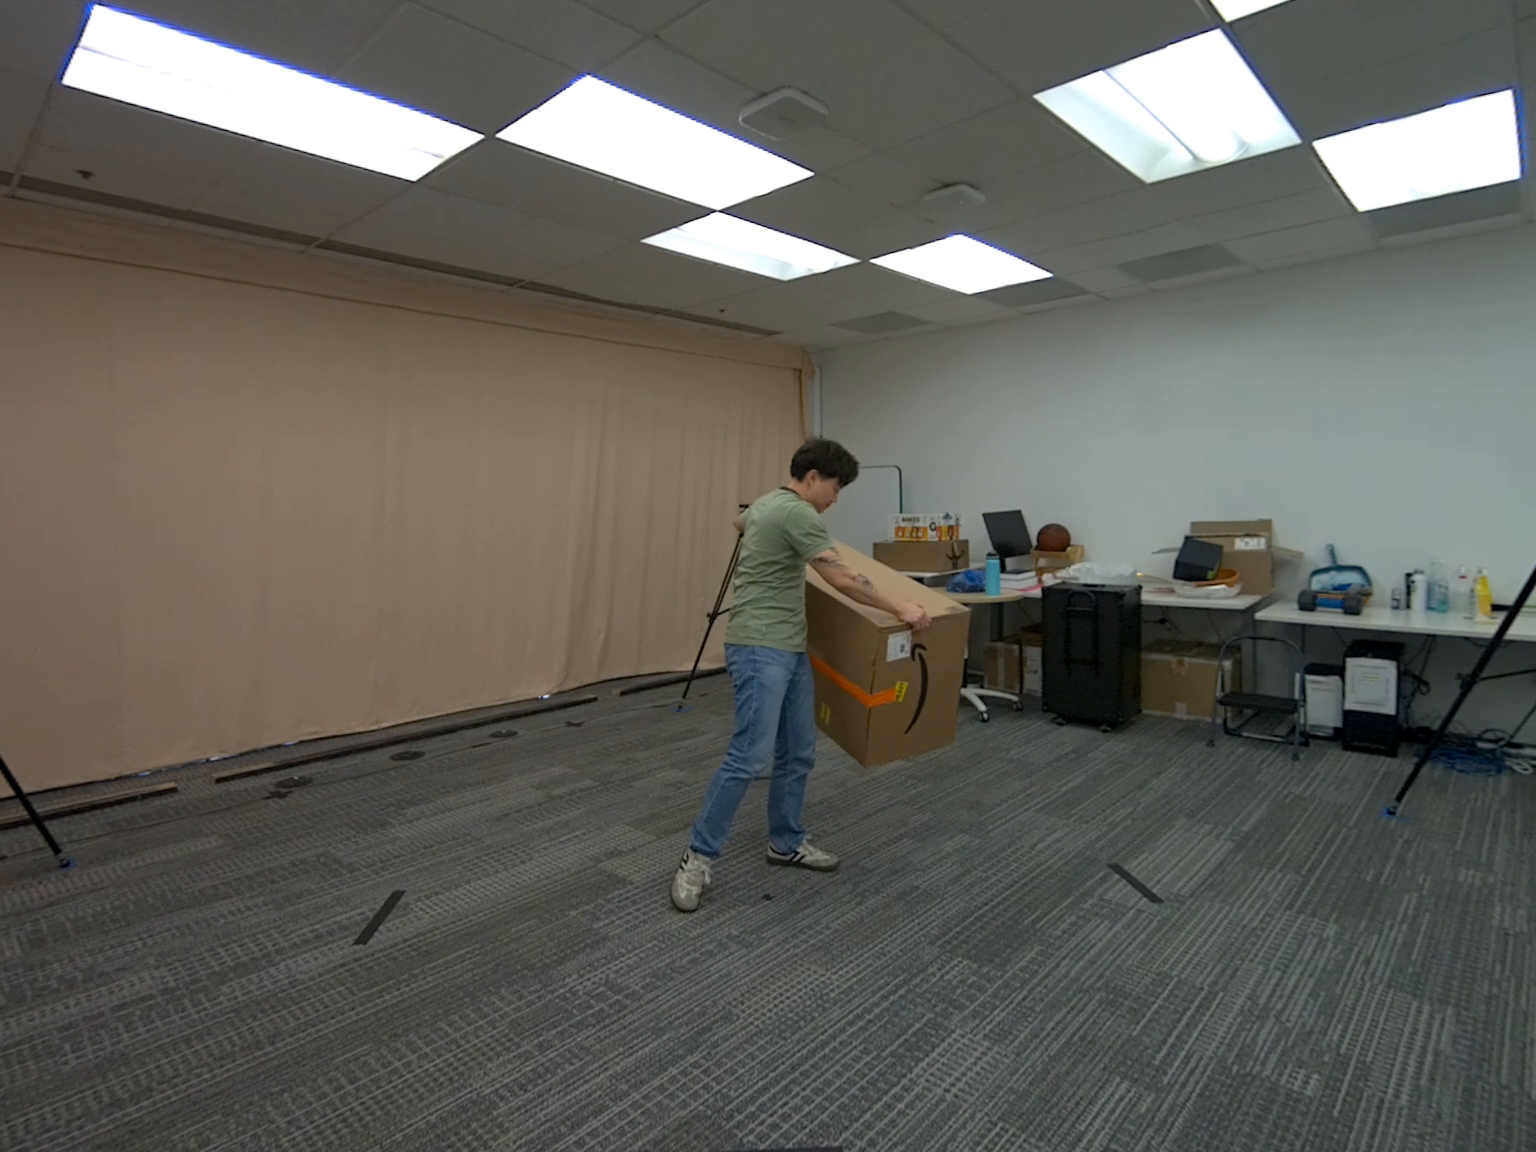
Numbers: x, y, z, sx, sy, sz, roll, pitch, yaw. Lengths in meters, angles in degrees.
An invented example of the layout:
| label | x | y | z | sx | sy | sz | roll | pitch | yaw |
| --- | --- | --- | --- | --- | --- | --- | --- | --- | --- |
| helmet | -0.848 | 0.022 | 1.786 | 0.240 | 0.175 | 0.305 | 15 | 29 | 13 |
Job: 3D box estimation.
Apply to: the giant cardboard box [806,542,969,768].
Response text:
| label | x | y | z | sx | sy | sz | roll | pitch | yaw |
| --- | --- | --- | --- | --- | --- | --- | --- | --- | --- |
| giant cardboard box | 0.303 | 0.251 | 3.531 | 0.416 | 0.571 | 1.061 | -8 | 22 | -28 |
